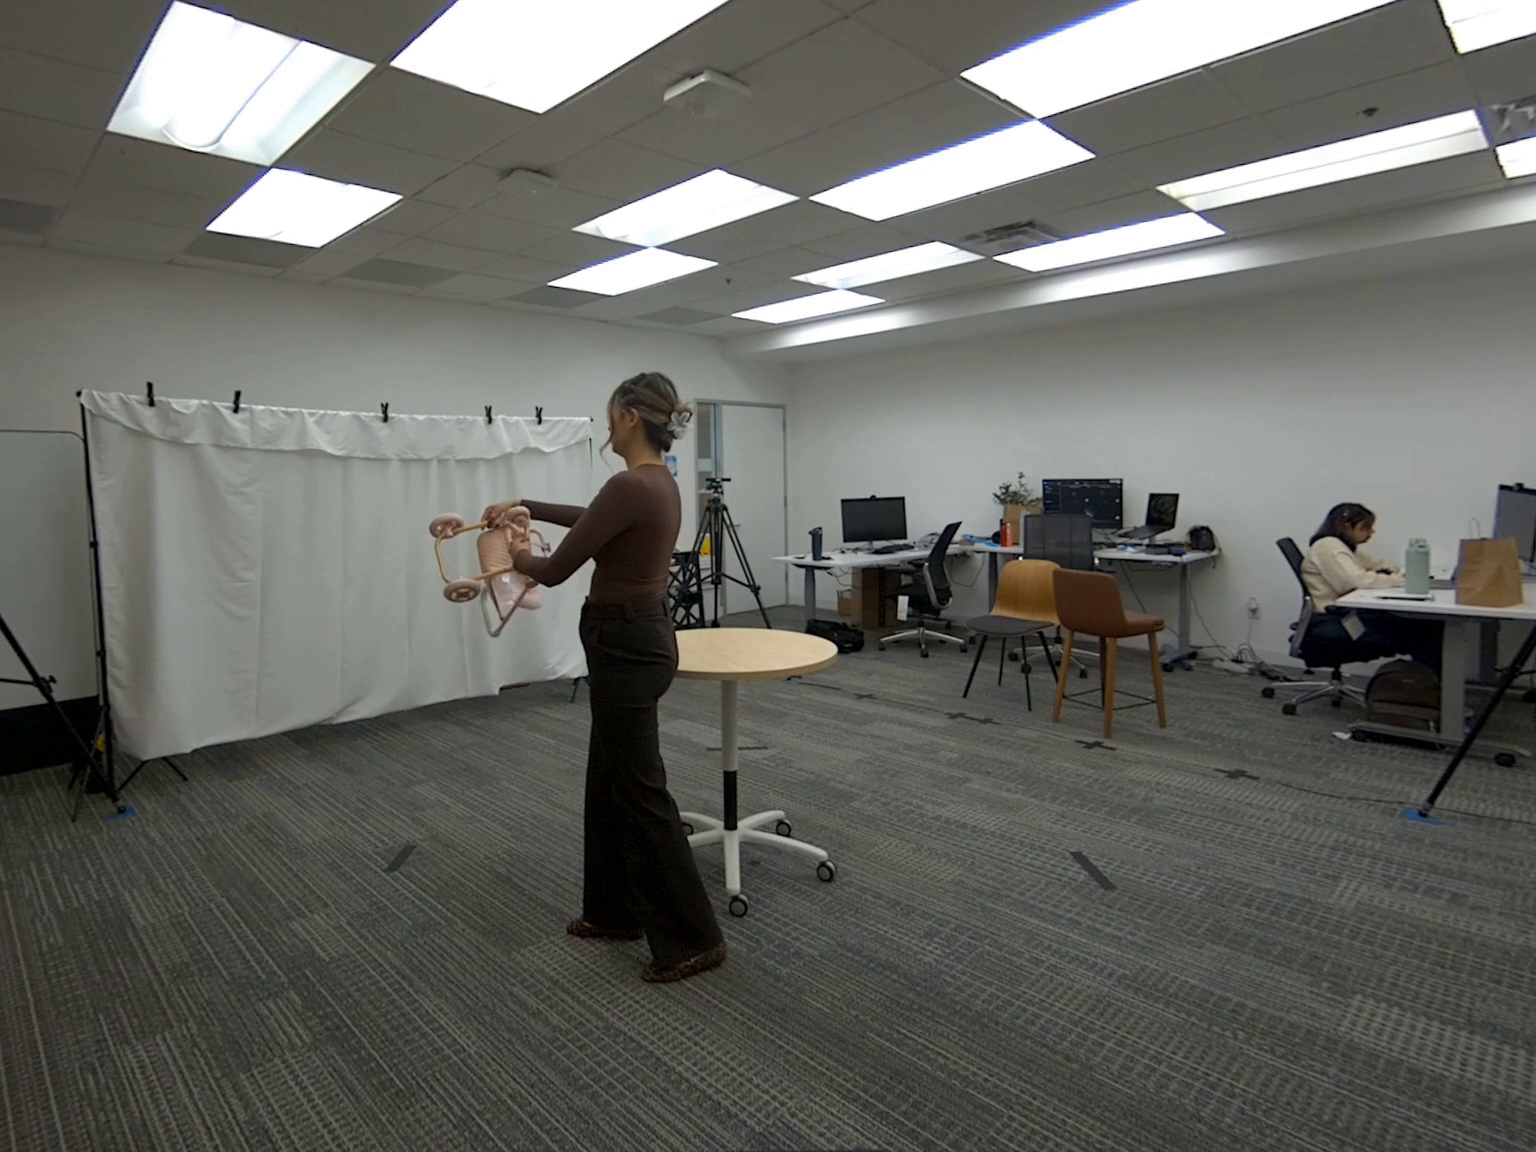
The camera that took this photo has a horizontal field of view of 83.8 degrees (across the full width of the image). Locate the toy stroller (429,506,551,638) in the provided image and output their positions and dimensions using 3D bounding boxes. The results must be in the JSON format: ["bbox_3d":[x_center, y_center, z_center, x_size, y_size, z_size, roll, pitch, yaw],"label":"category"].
[{"bbox_3d":[-0.859,-0.029,2.804,0.340,0.291,0.519,-26,-28,-6],"label":"toy stroller"}]
